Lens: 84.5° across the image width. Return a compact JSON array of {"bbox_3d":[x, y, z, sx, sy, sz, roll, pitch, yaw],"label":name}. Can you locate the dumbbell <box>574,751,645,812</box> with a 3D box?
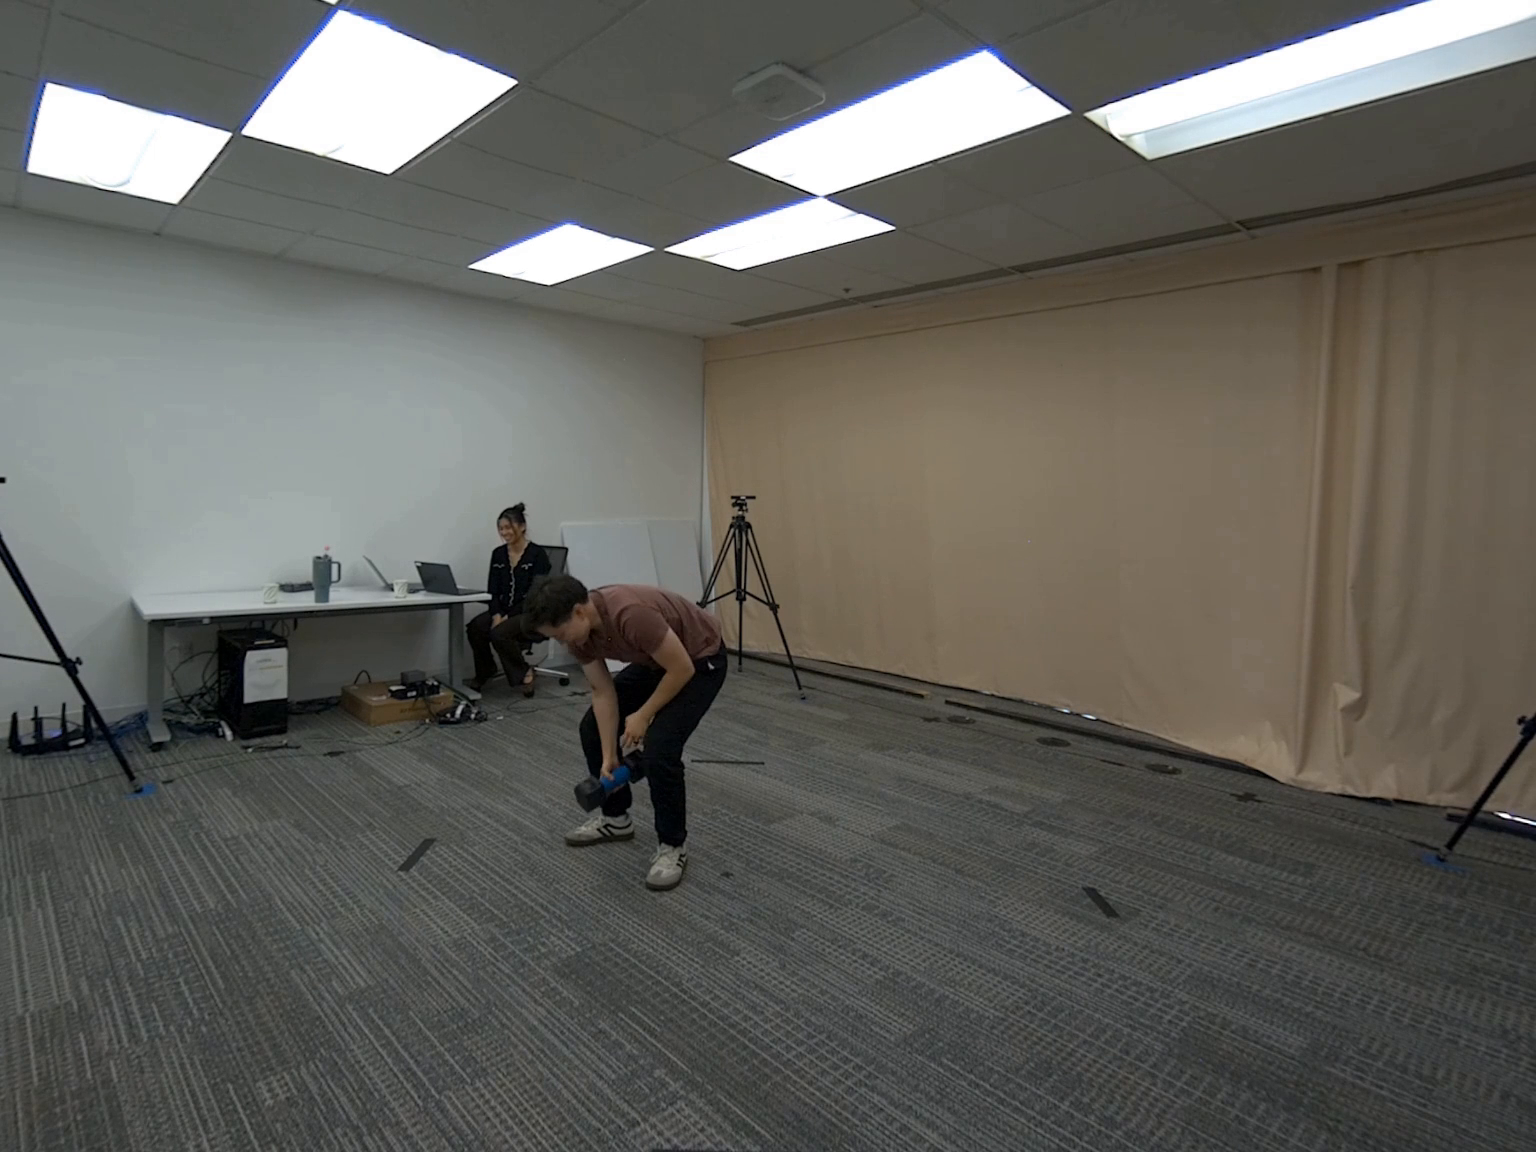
[{"bbox_3d":[-0.593,0.762,3.167,0.289,0.122,0.111,-21,12,-38],"label":"dumbbell"}]
